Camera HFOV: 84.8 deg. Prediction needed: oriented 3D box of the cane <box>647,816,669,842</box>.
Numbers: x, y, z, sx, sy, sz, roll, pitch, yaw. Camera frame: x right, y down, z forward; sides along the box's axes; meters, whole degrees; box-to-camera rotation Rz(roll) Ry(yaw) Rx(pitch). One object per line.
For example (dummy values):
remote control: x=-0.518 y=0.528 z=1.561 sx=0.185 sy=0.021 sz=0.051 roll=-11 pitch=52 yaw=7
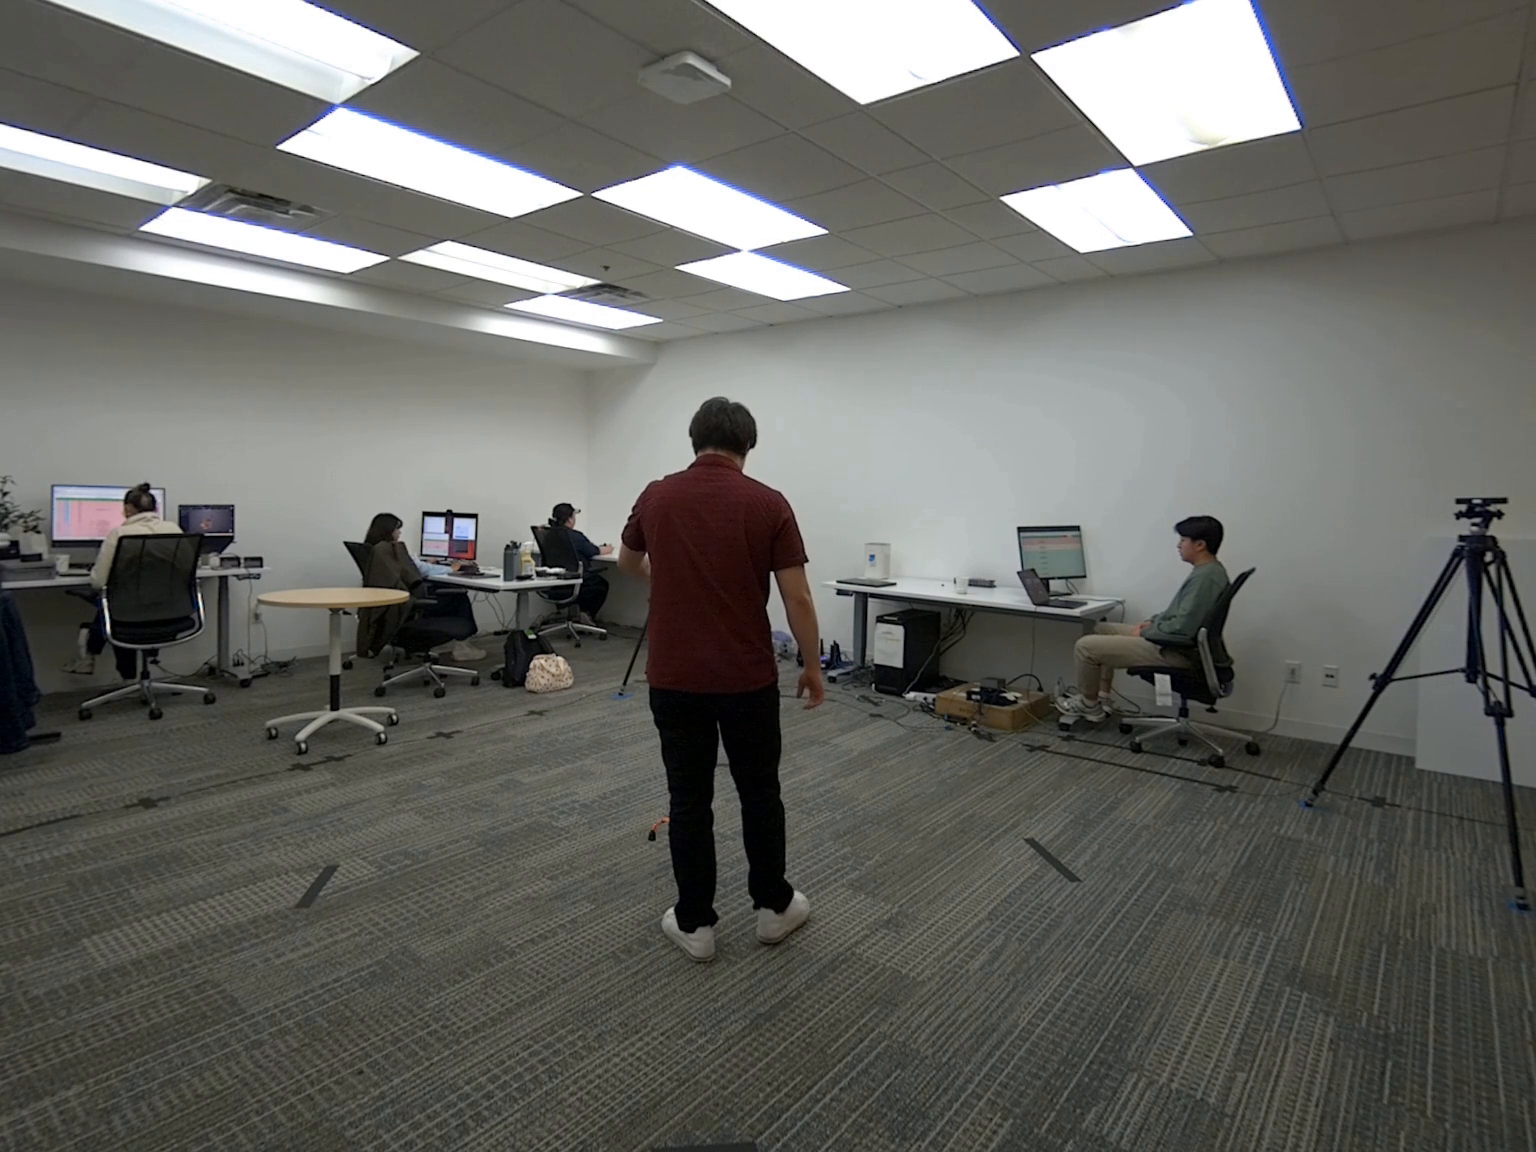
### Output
cane: x=-0.323 y=0.473 z=3.053 sx=0.155 sy=0.908 sz=0.201 roll=0 pitch=0 yaw=23
